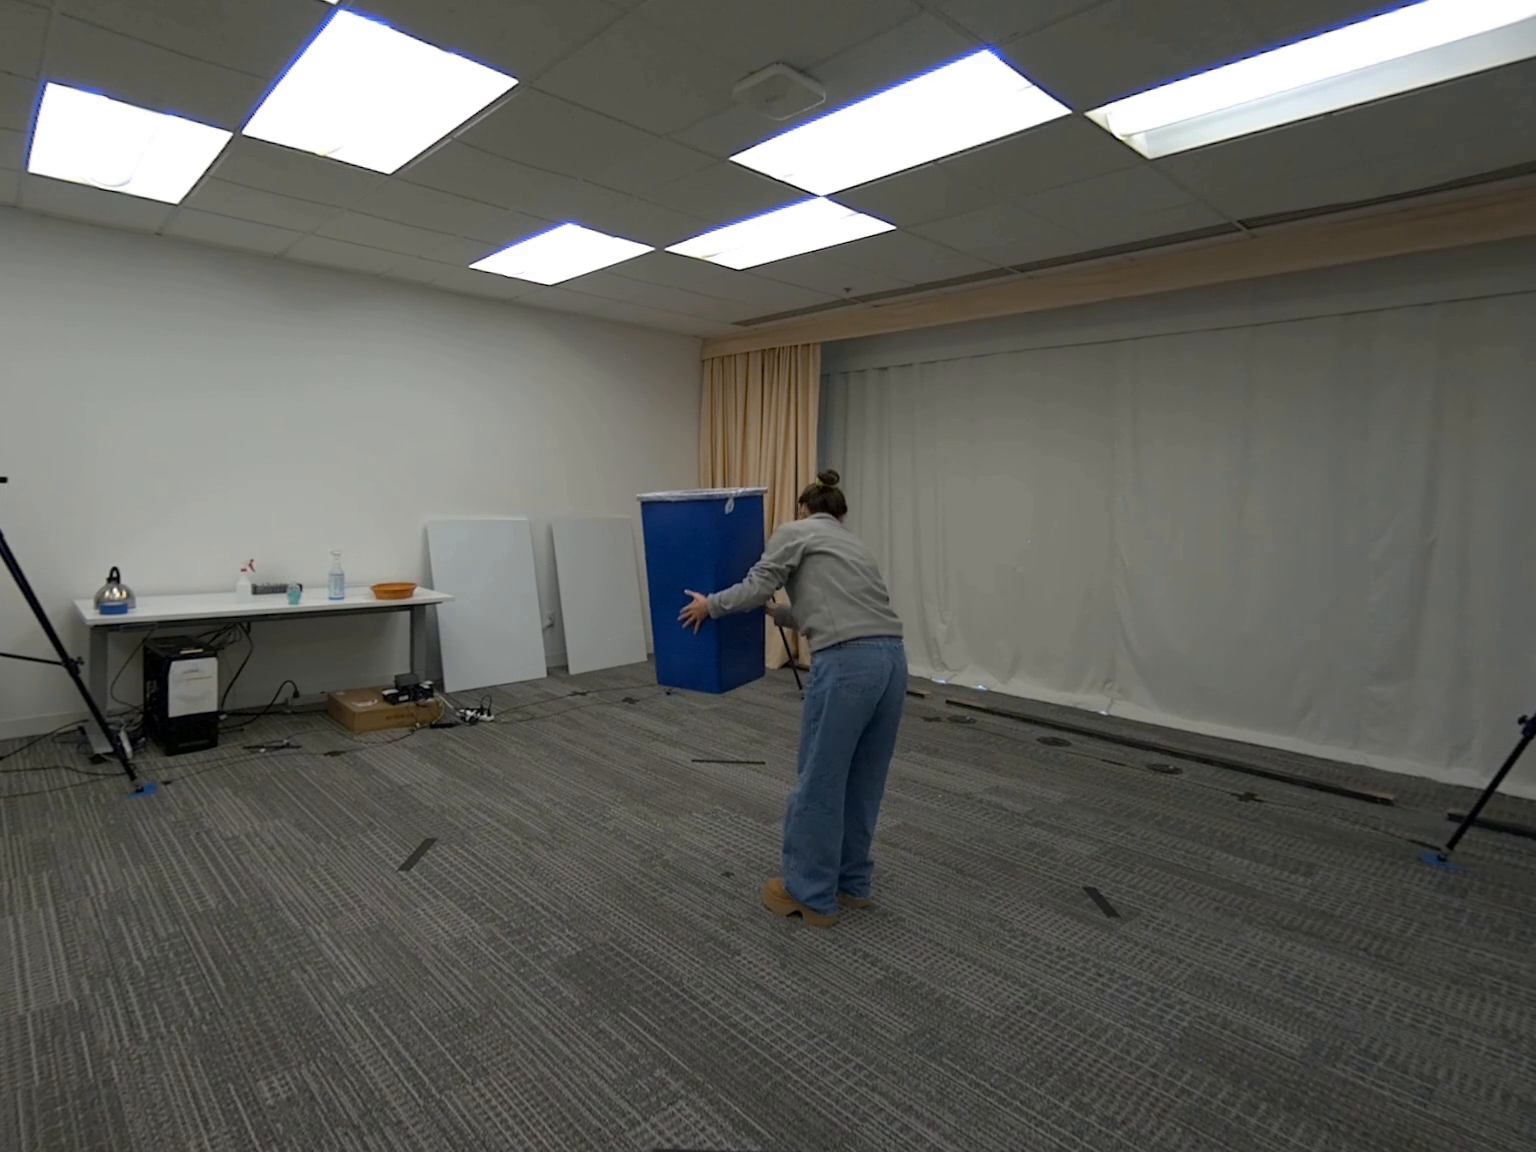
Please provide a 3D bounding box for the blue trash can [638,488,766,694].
[{"bbox_3d":[-0.237,0.042,3.136,0.383,0.710,0.371,2,7,34],"label":"blue trash can"}]
